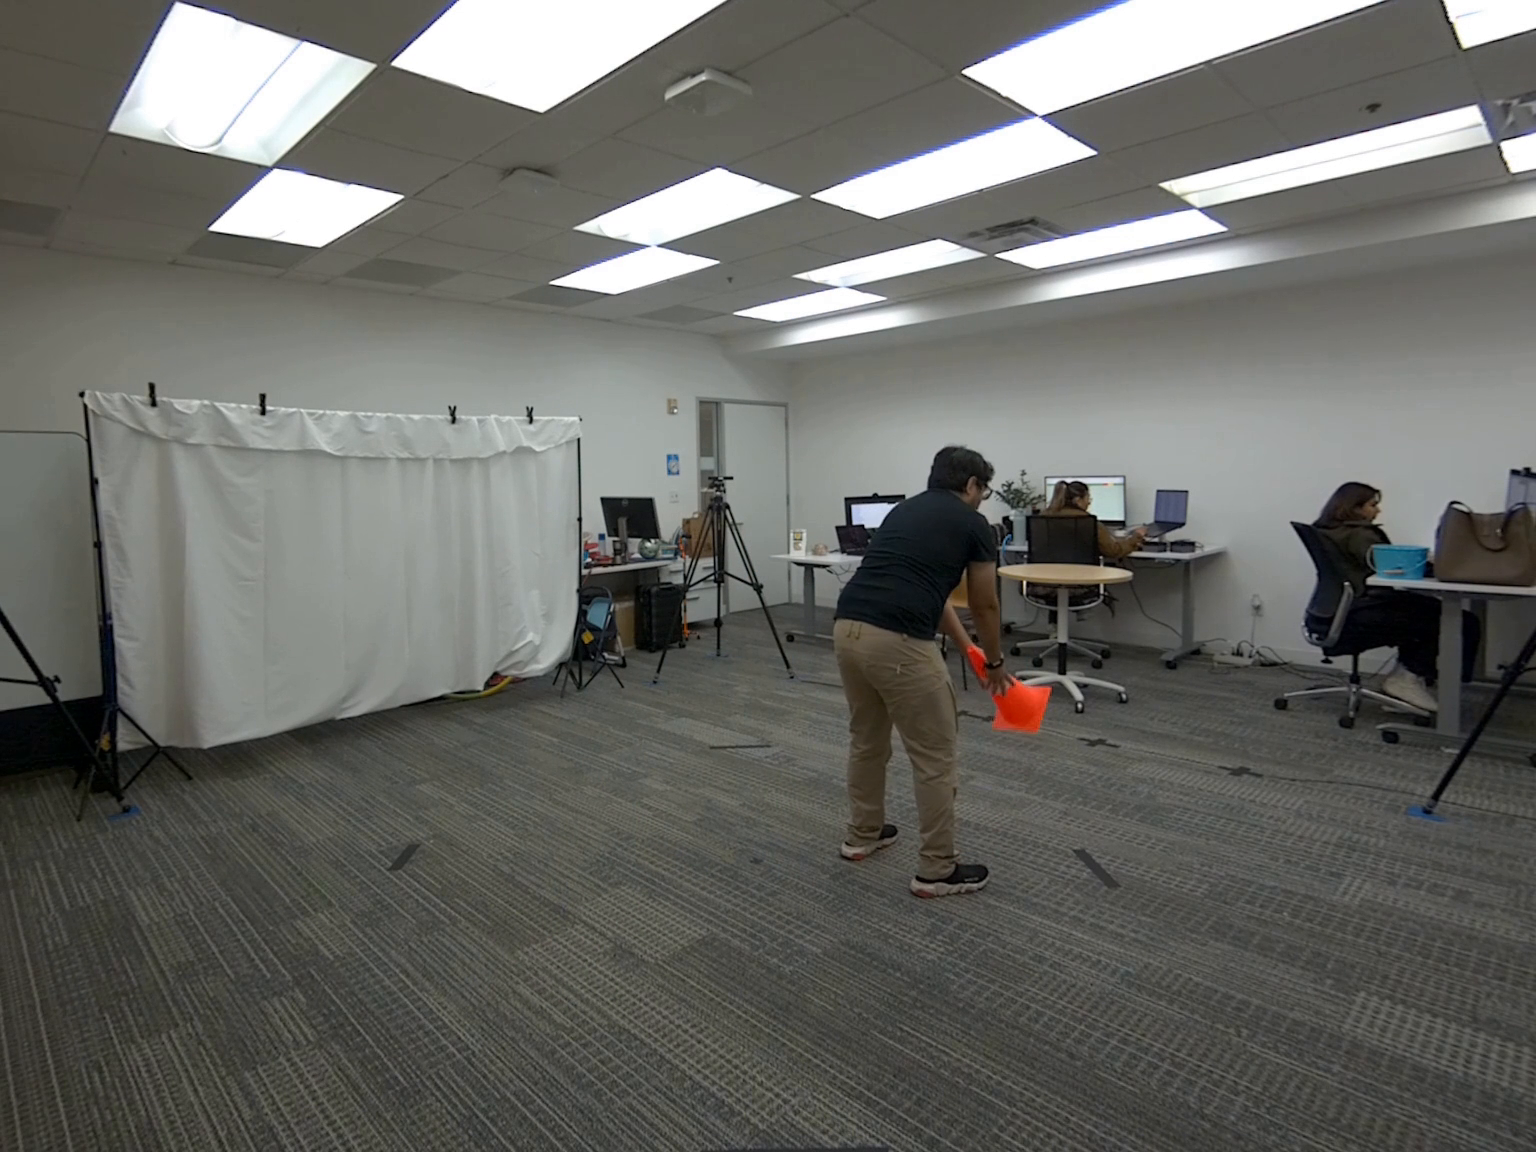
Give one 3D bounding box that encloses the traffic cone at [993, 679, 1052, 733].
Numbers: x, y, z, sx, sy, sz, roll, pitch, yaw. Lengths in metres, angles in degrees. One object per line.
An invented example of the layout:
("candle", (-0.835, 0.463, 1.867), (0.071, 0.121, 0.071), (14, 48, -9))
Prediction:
("traffic cone", (0.851, 0.405, 3.221), (0.373, 0.205, 0.209), (43, -18, -24))
